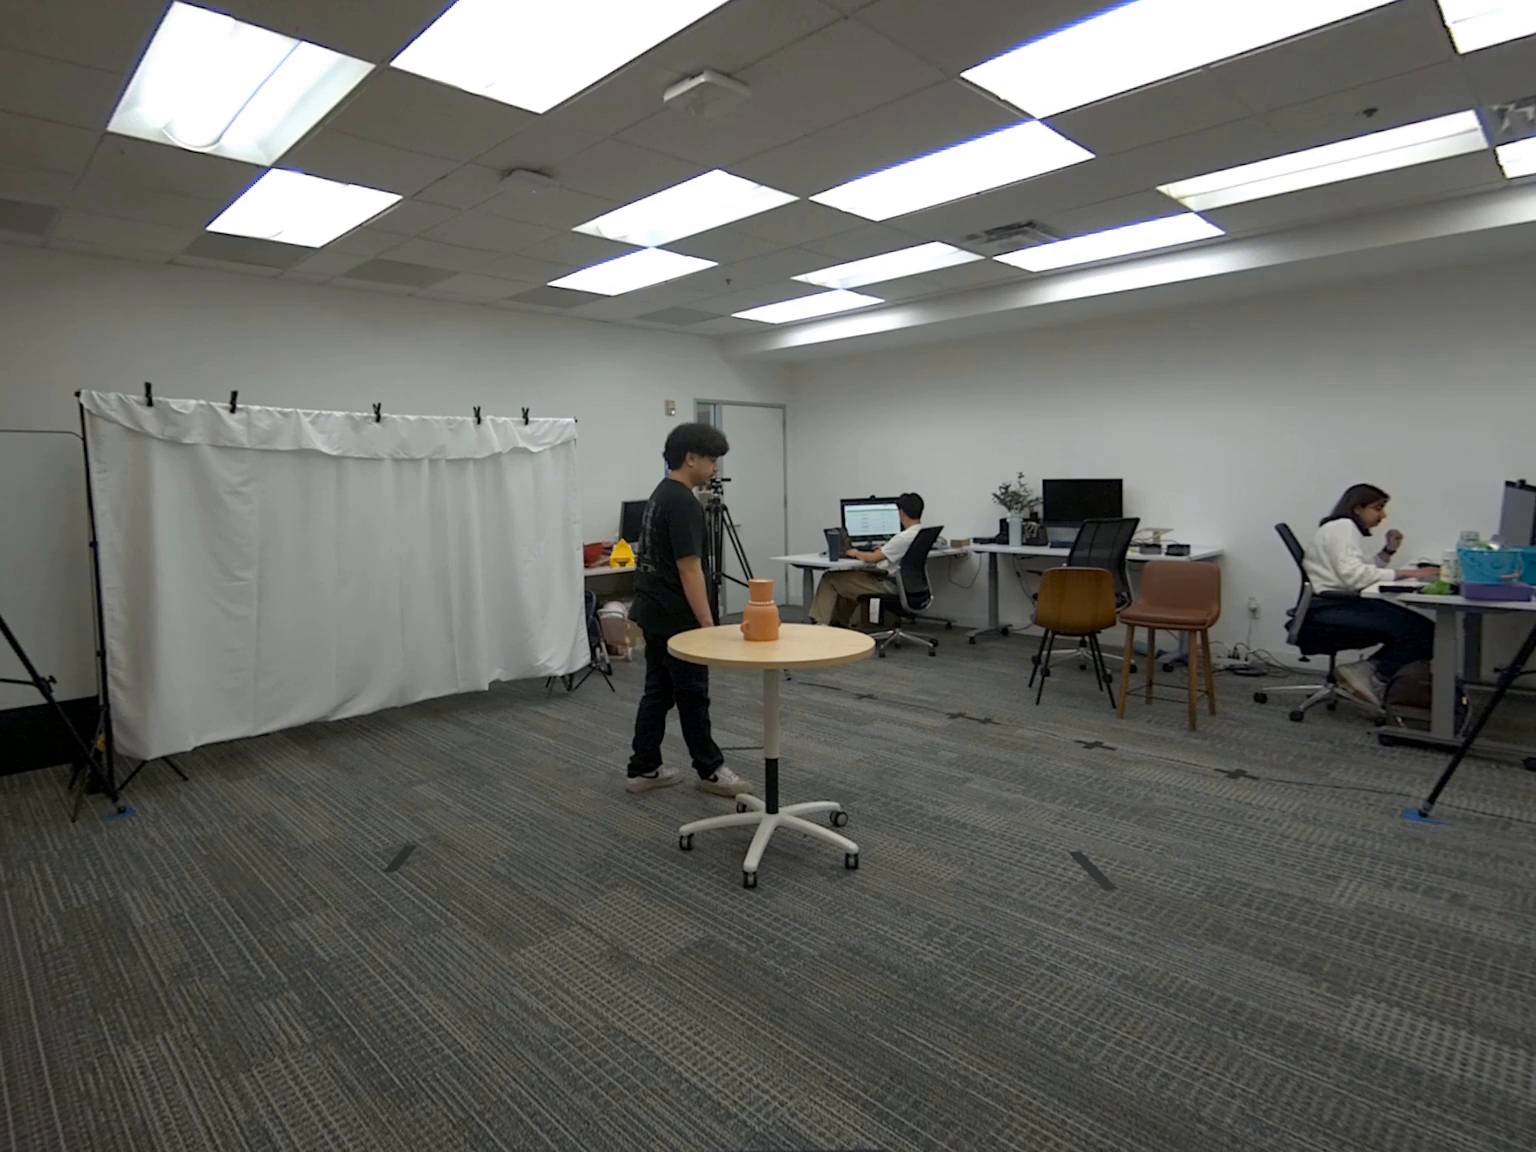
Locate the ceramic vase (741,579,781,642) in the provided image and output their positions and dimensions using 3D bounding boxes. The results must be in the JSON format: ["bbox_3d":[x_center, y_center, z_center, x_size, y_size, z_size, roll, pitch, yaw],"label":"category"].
[{"bbox_3d":[-0.027,0.126,3.213,0.136,0.219,0.158,0,5,8],"label":"ceramic vase"}]
